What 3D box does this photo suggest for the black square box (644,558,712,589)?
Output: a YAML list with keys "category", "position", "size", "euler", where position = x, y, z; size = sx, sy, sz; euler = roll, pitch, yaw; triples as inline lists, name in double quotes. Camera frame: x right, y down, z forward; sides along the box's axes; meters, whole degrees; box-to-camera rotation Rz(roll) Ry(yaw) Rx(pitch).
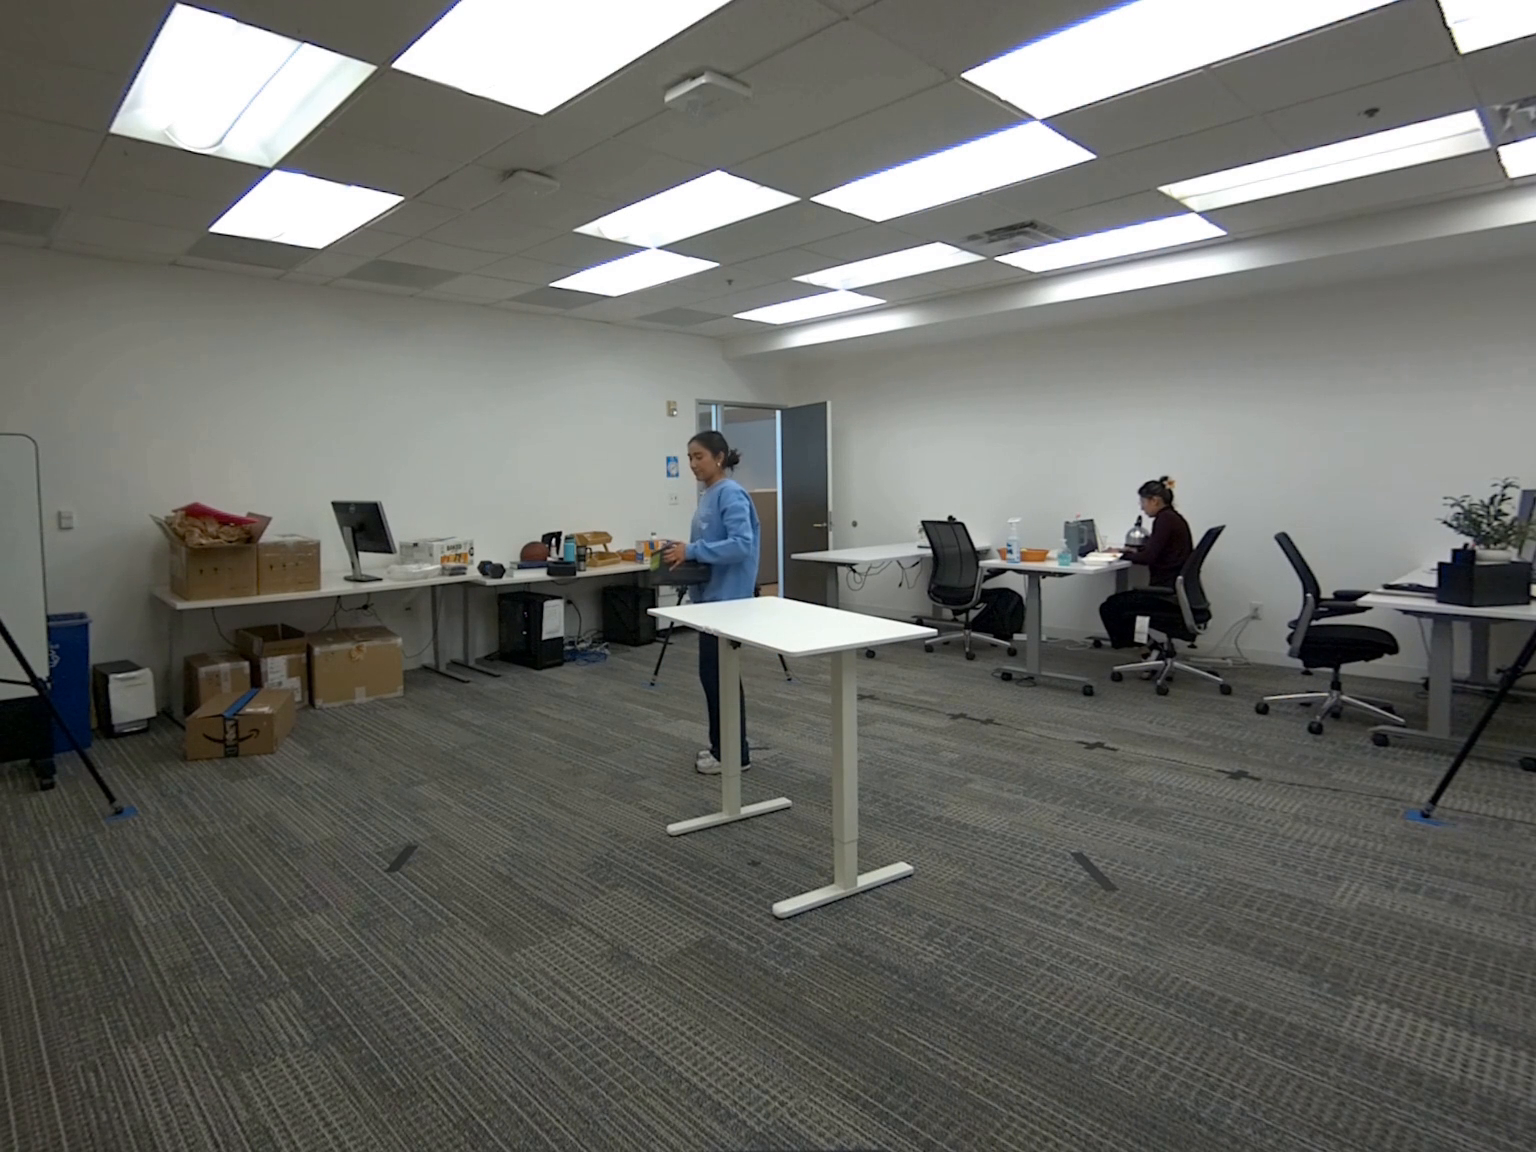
- category: "black square box"
  position: [-0.415, -0.039, 4.013]
  size: [0.212, 0.157, 0.231]
  euler: [2, -8, -26]
